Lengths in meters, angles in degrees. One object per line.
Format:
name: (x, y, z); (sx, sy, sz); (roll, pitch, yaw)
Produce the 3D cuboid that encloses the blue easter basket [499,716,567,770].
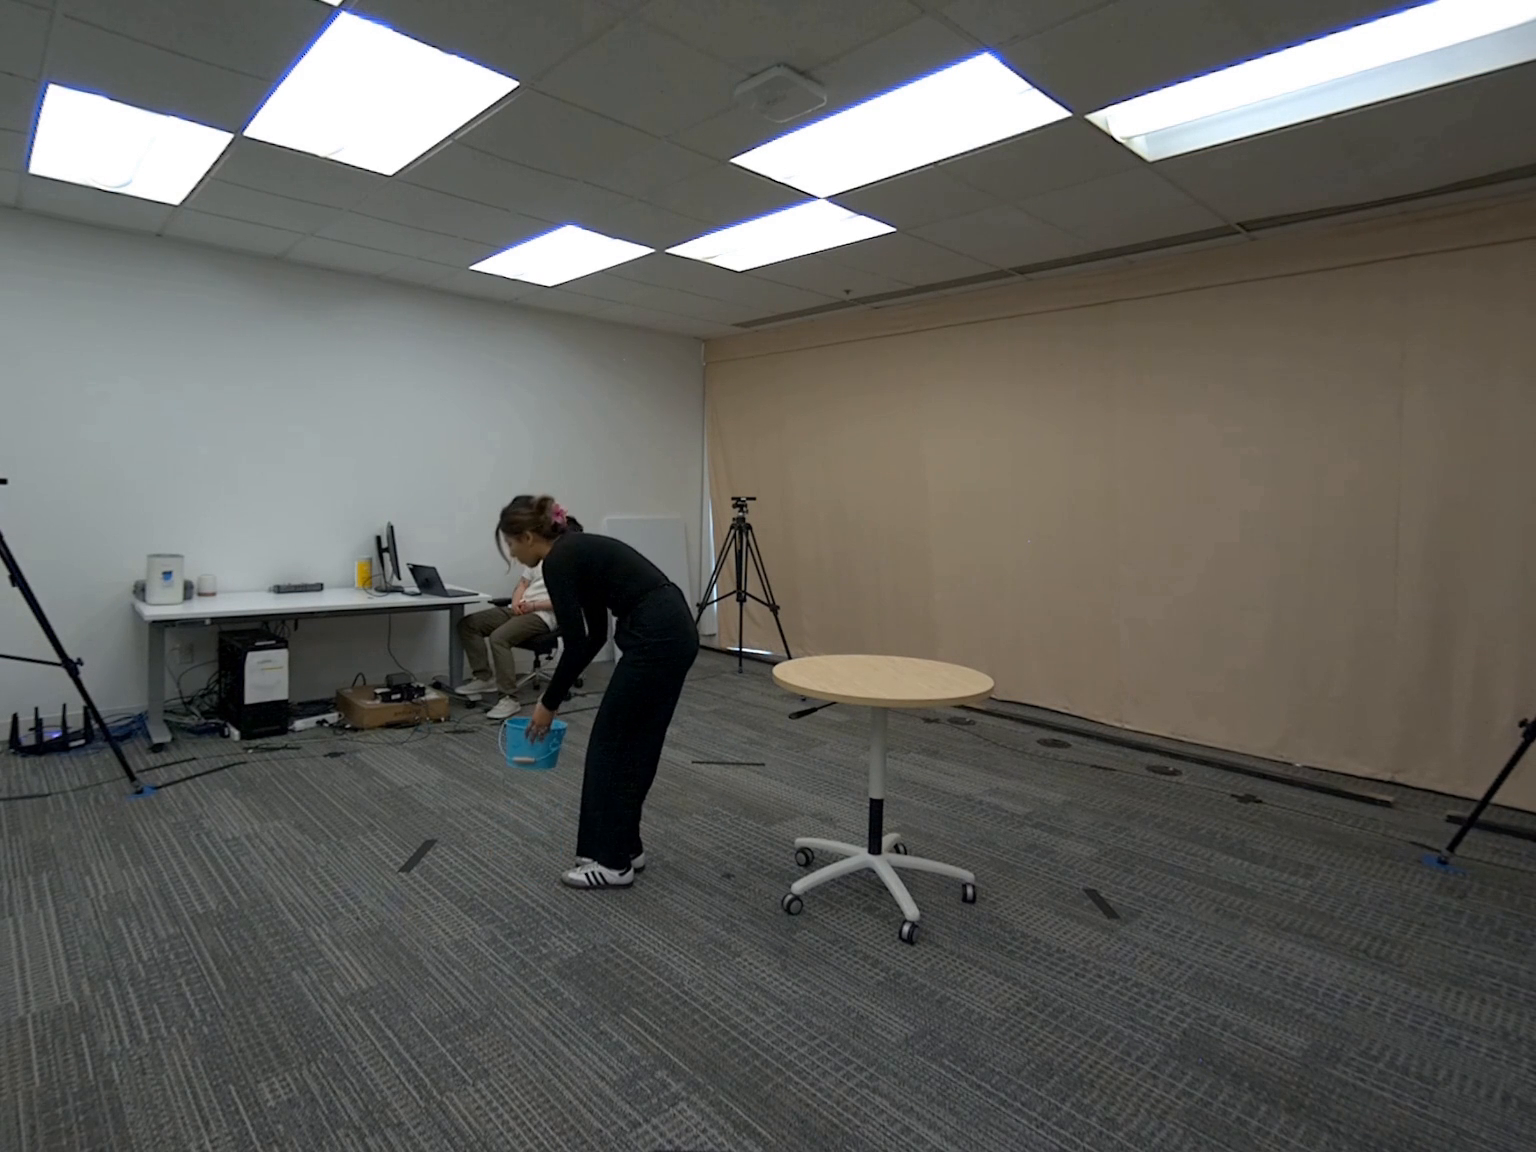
blue easter basket: (-0.870, 0.618, 3.105); (0.243, 0.156, 0.243); (5, -1, -1)
